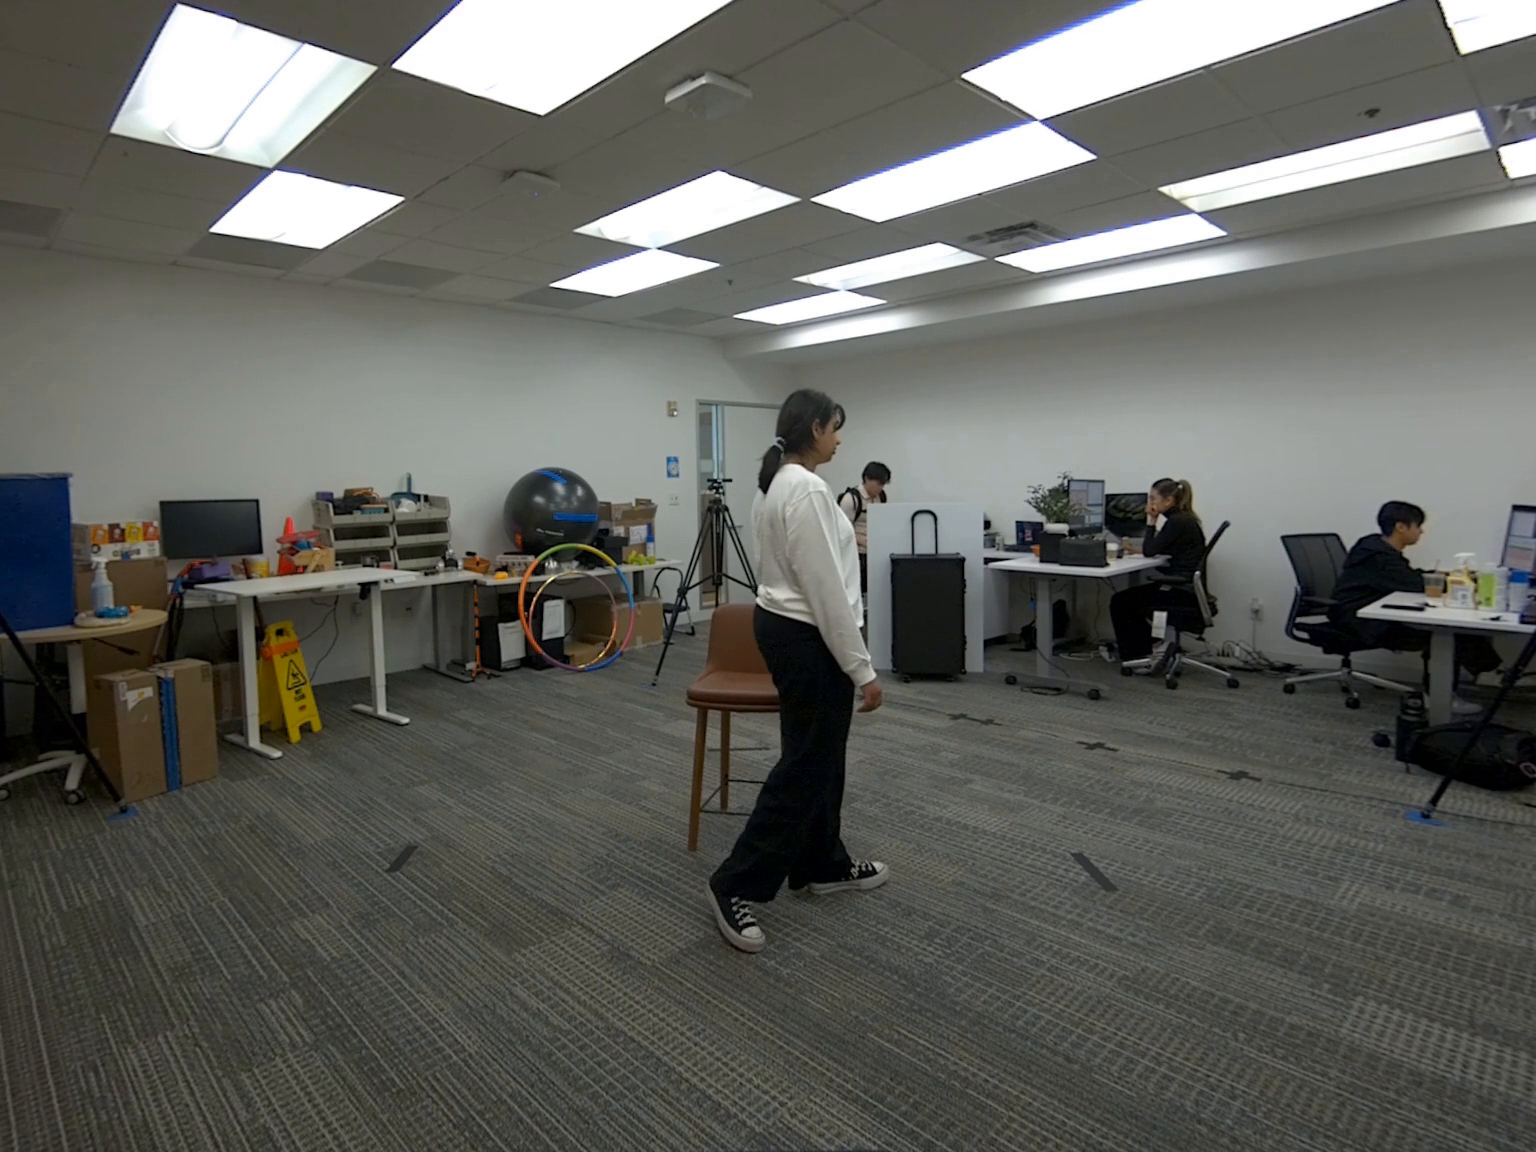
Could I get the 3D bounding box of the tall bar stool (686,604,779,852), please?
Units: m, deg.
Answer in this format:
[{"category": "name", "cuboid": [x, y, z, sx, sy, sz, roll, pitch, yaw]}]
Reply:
[{"category": "tall bar stool", "cuboid": [-0.065, 0.581, 3.367, 0.463, 0.888, 0.462, 0, 2, 14]}]
